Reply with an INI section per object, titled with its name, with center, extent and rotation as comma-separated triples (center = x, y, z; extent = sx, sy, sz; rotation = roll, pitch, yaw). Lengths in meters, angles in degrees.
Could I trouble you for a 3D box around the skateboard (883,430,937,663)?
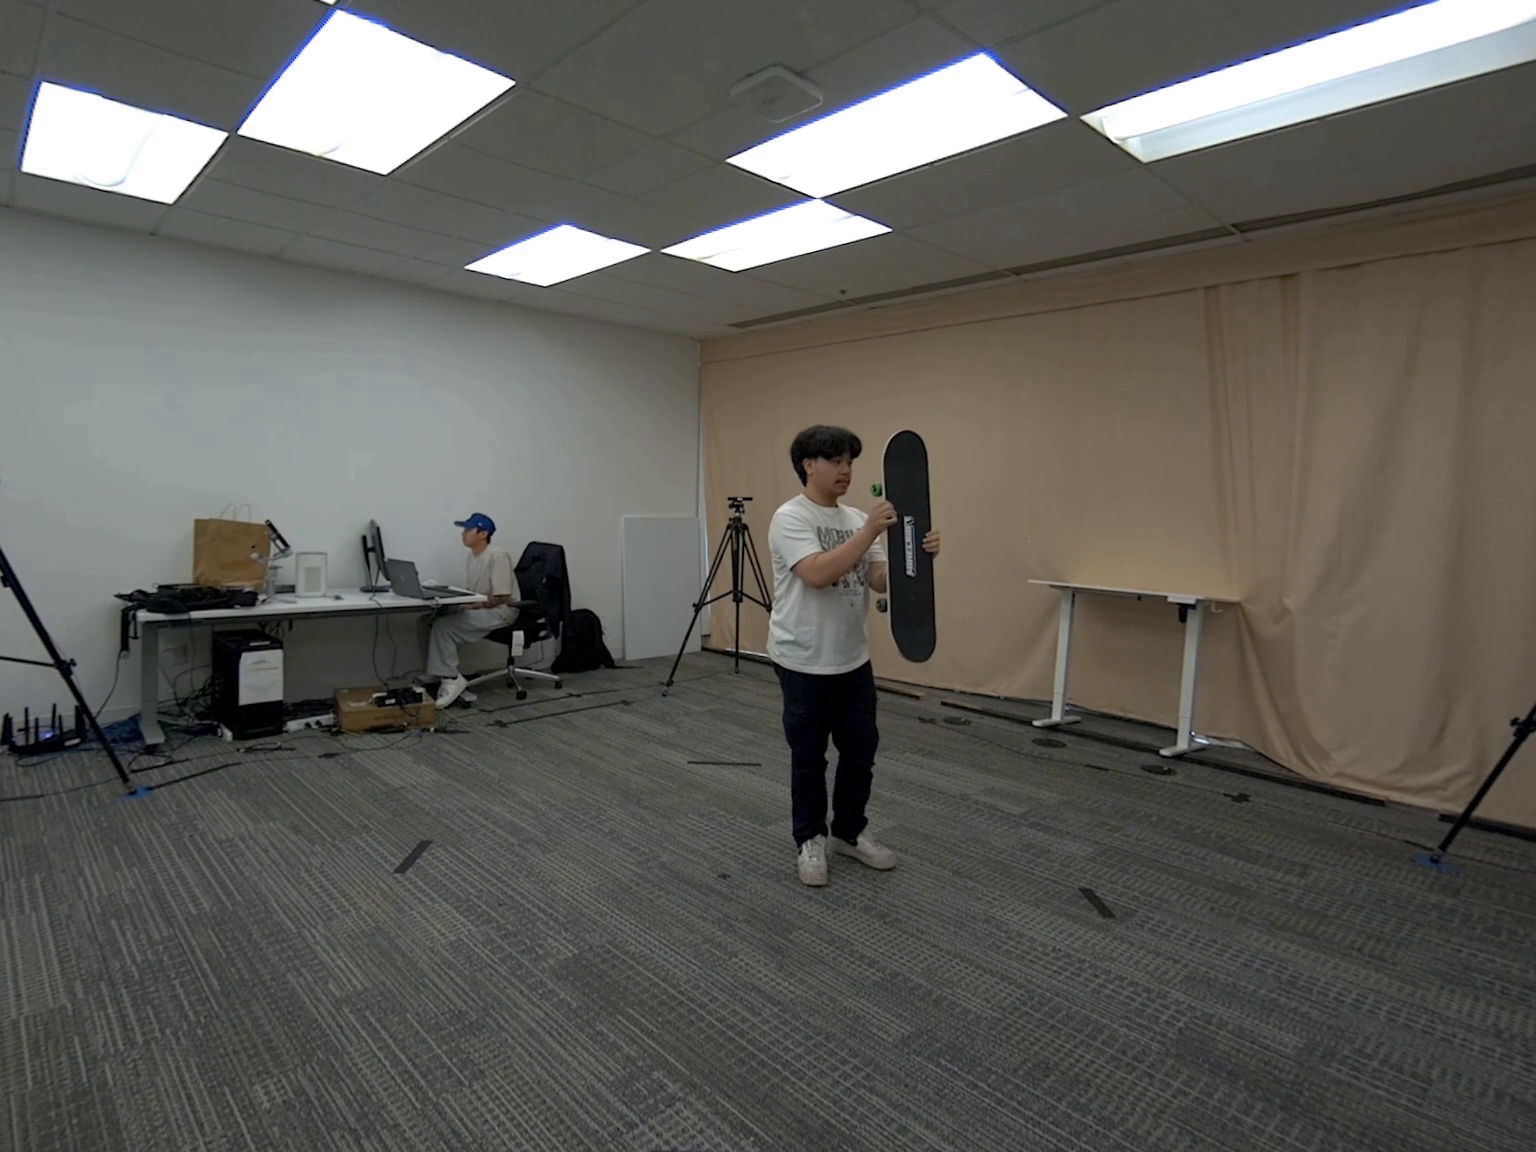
[skateboard]
center = 0.457, -0.100, 2.883
extent = 0.190, 0.788, 0.112
rotation = 0, -5, -26
